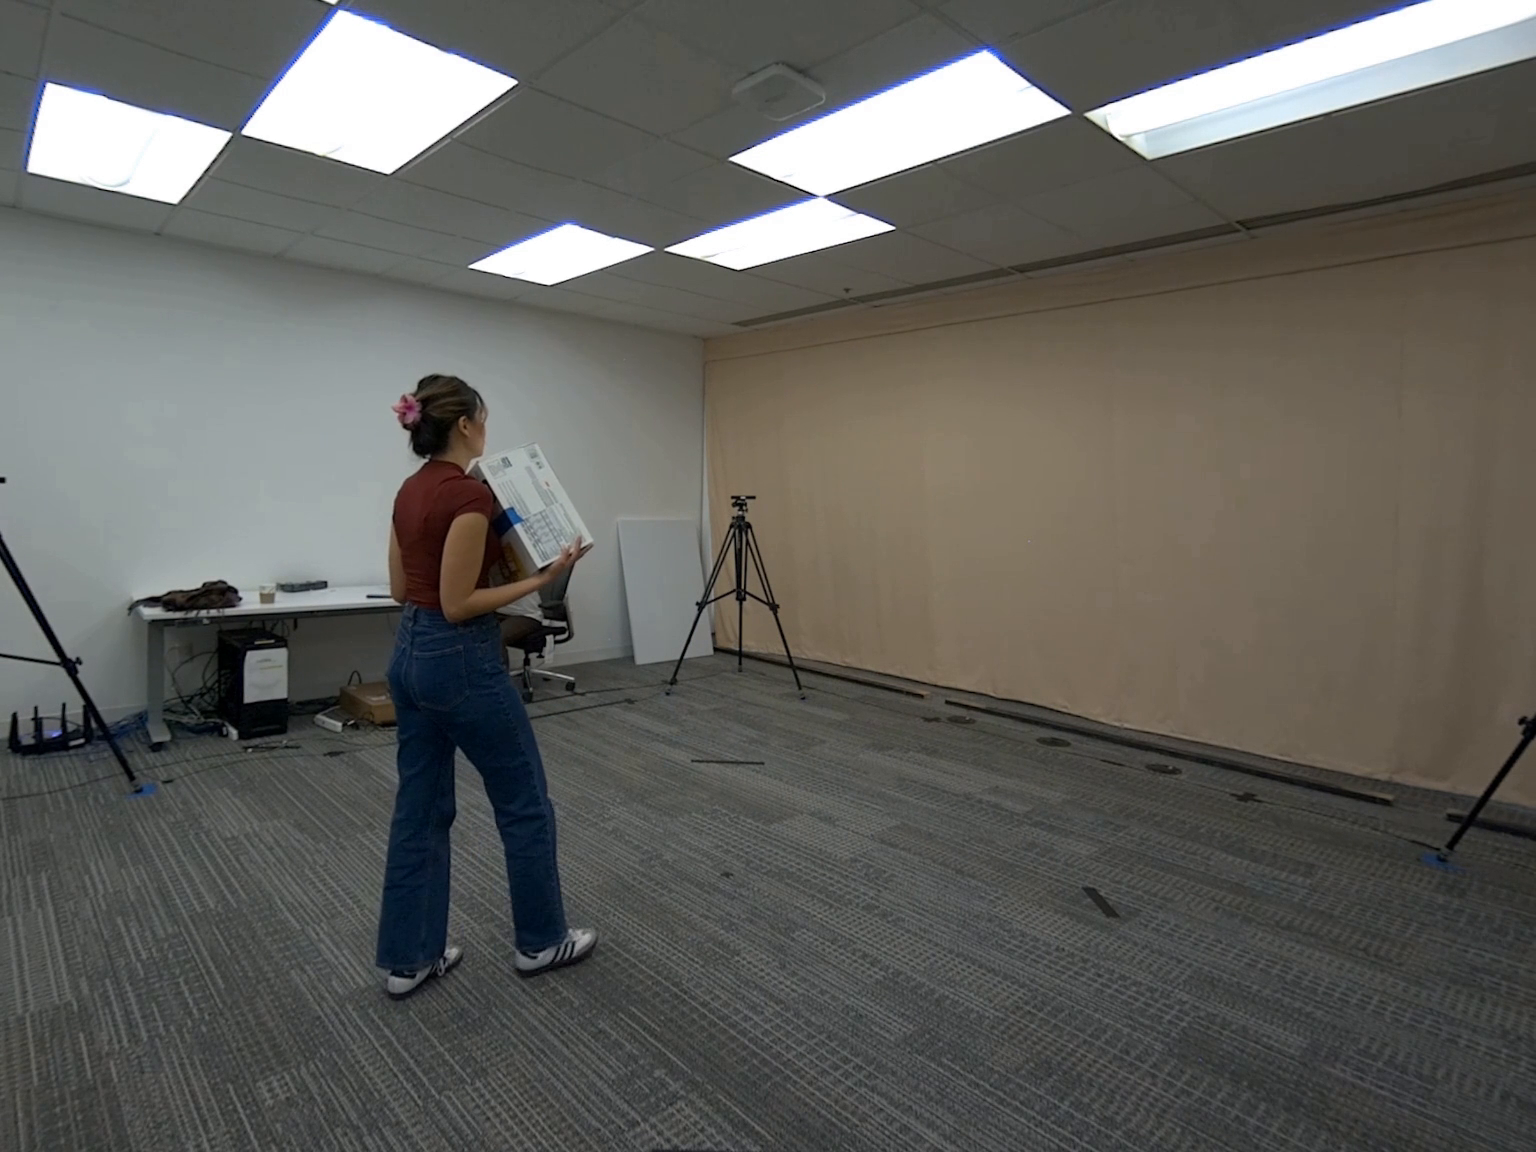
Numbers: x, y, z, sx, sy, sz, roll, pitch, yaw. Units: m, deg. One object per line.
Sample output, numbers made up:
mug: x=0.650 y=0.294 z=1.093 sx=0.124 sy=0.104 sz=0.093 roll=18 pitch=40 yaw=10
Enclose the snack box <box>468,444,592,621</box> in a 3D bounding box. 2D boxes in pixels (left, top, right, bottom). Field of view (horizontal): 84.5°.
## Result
snack box: x=-0.768 y=-0.141 z=2.501 sx=0.204 sy=0.340 sz=0.409 roll=-30 pitch=0 yaw=-43
